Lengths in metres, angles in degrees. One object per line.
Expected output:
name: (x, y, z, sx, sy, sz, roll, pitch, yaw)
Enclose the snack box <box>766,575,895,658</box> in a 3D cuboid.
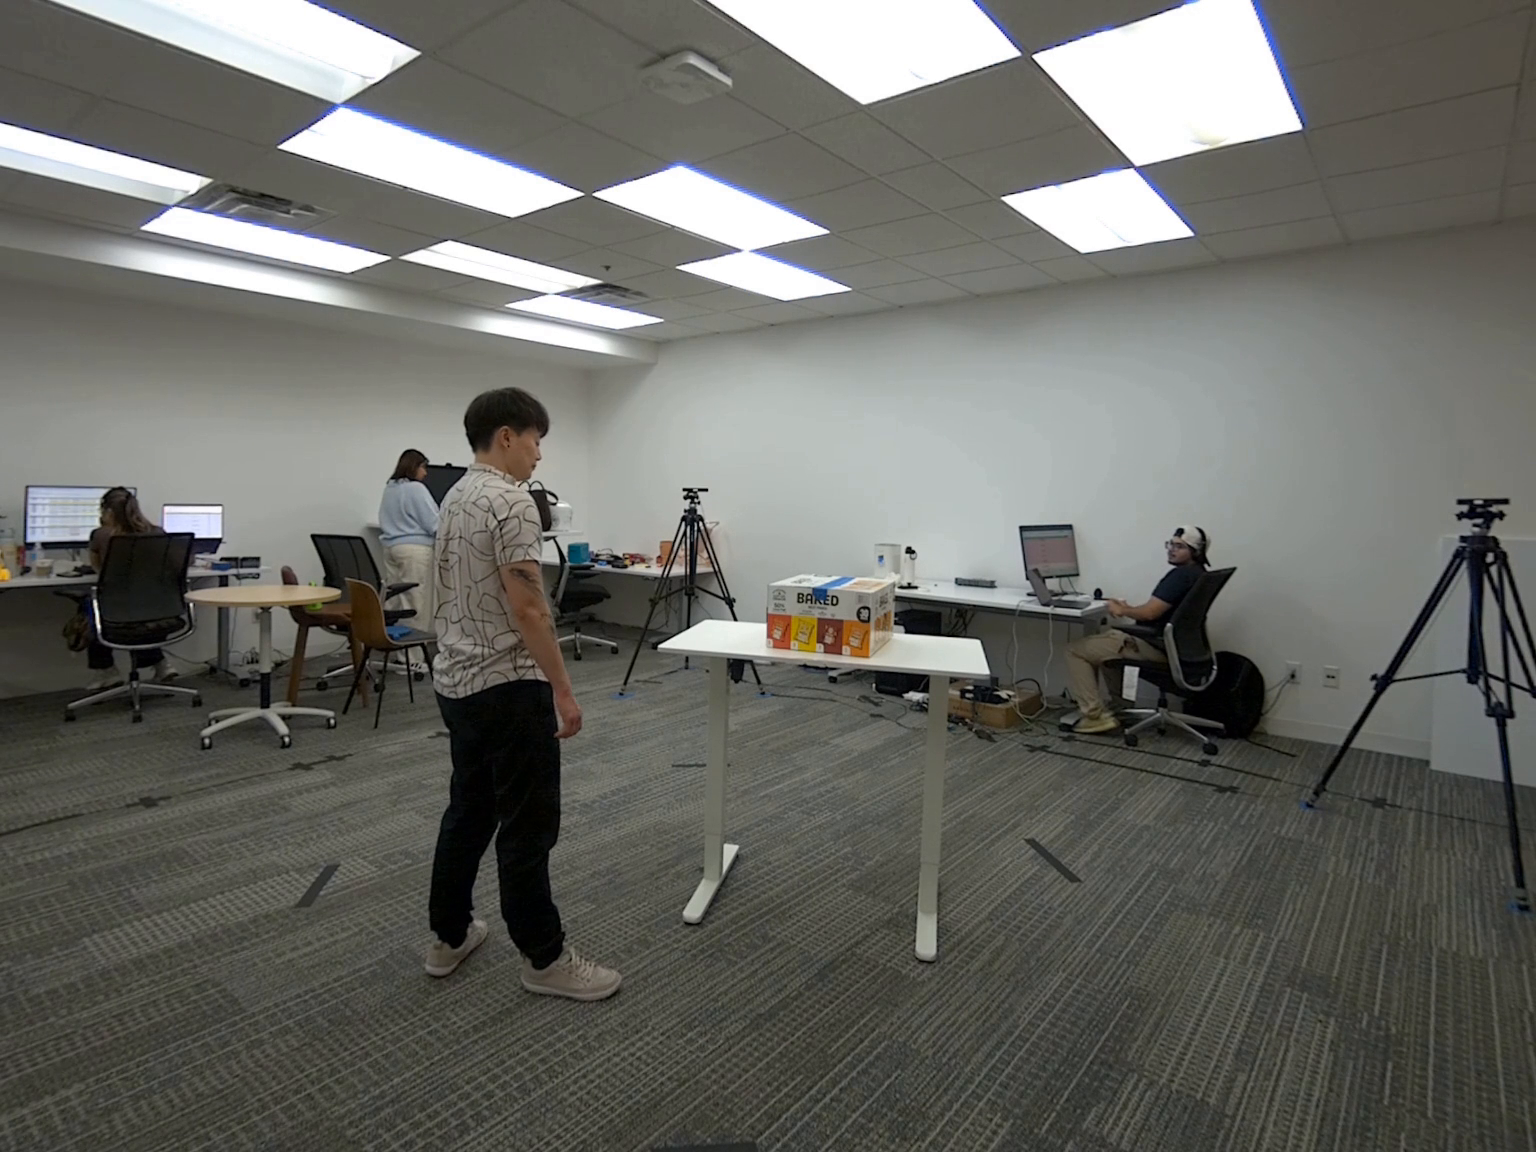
snack box: (0.209, 0.120, 2.846, 0.348, 0.205, 0.398, 4, 6, 20)
